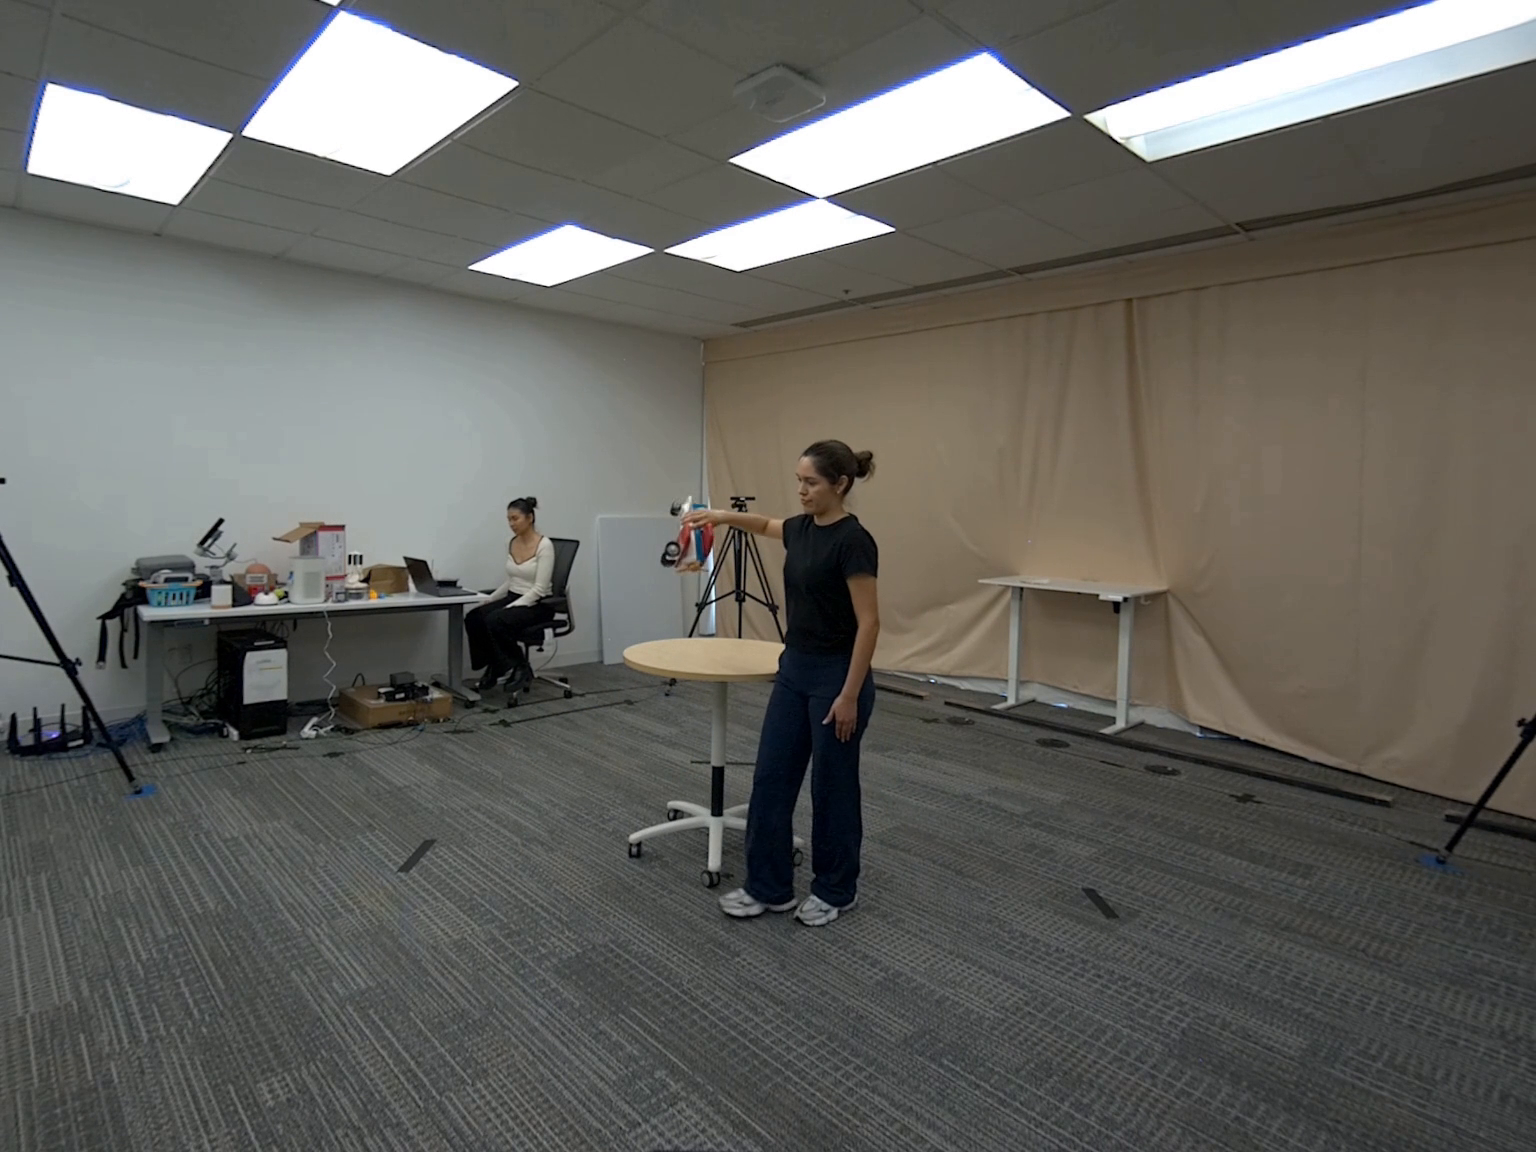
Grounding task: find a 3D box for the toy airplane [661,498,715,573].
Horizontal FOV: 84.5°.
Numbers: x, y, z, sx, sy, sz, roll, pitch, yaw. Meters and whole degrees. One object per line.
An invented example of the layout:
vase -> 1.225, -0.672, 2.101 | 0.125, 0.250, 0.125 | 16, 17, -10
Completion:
toy airplane -> -0.270, -0.143, 2.902 | 0.155, 0.259, 0.253 | 12, 0, -10
